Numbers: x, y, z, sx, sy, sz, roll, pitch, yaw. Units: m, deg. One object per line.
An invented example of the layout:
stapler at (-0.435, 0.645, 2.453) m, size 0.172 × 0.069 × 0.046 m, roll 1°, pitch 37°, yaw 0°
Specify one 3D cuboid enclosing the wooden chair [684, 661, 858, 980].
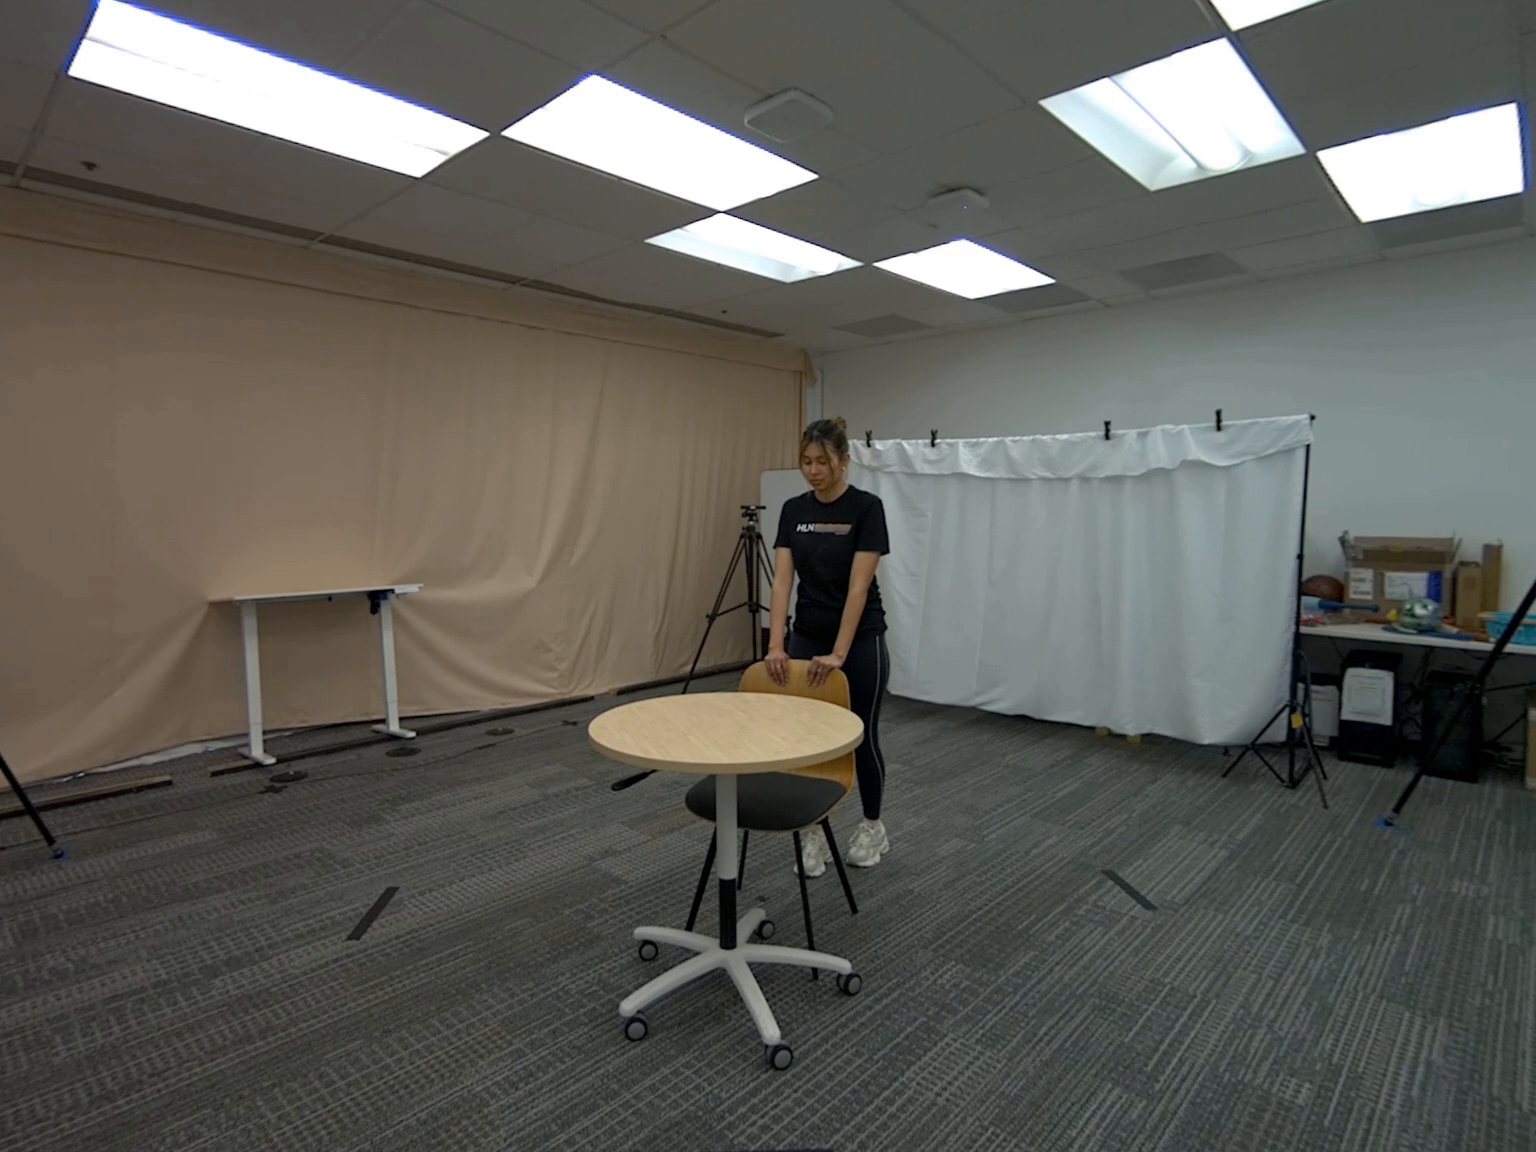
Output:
wooden chair at (0.015, 0.735, 2.734) m, size 0.490 × 0.877 × 0.510 m, roll 2°, pitch 0°, yaw 24°
